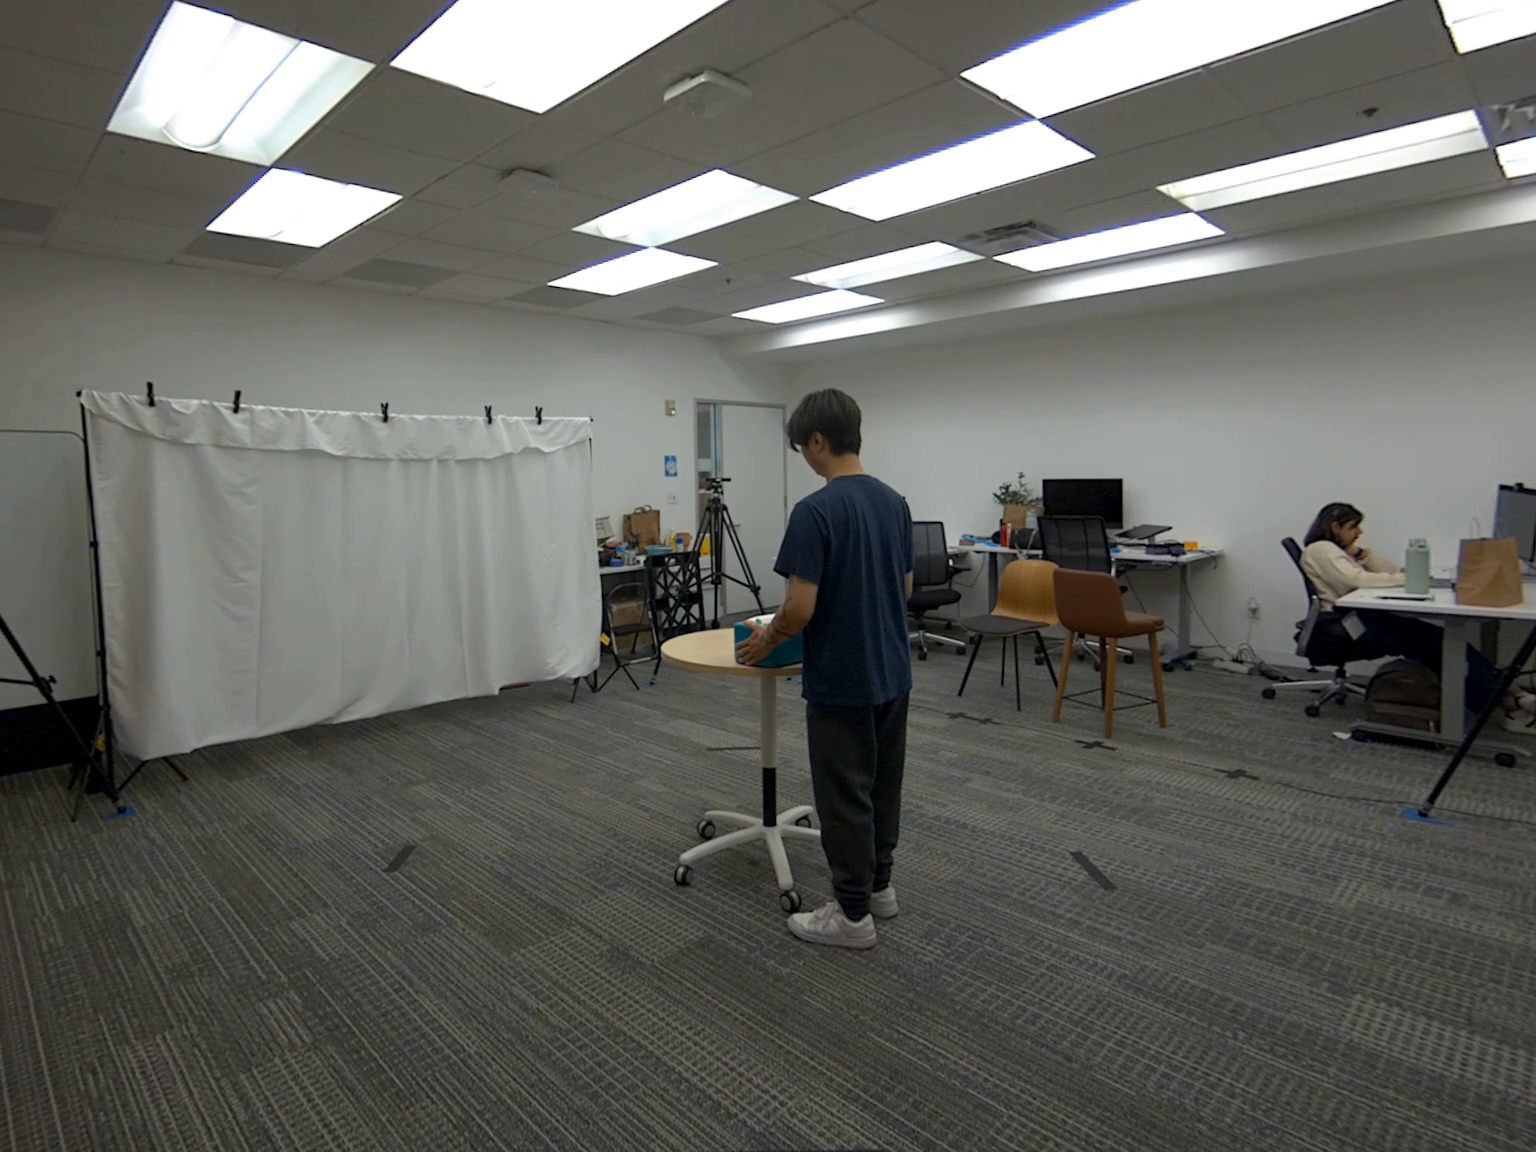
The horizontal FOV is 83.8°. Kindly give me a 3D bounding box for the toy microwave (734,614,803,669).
[{"bbox_3d":[0.045,0.199,2.806,0.278,0.152,0.189,-5,4,-44],"label":"toy microwave"}]
